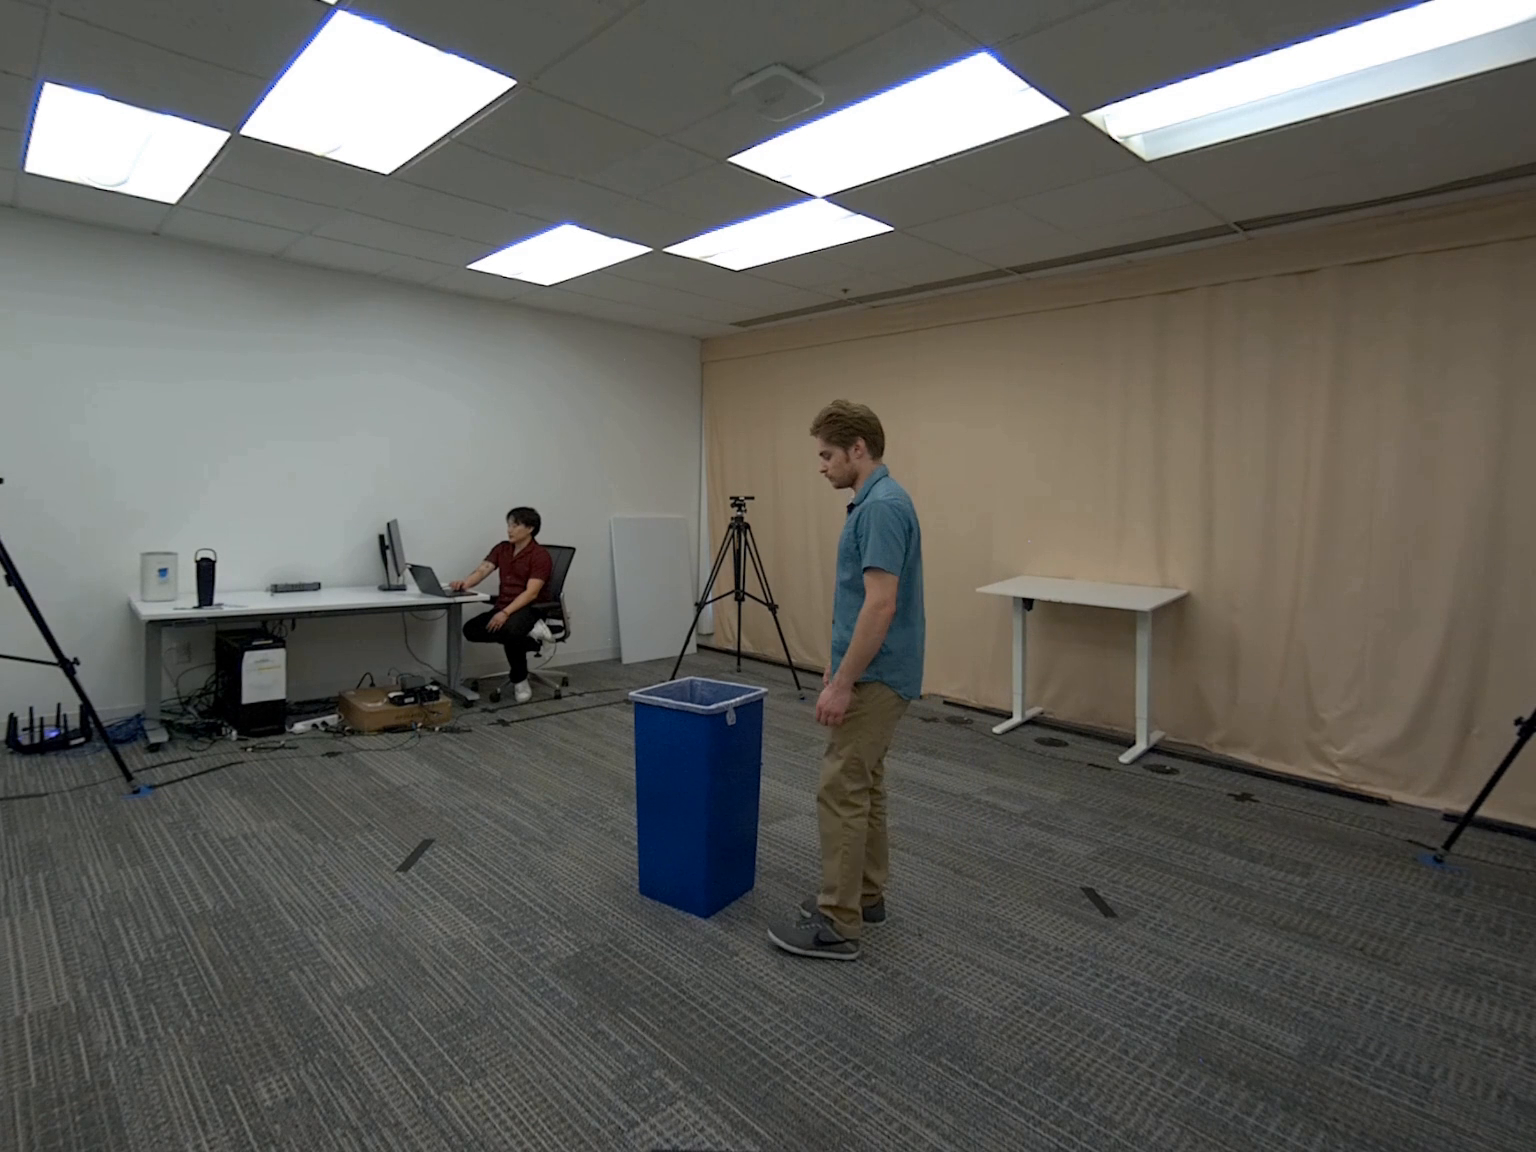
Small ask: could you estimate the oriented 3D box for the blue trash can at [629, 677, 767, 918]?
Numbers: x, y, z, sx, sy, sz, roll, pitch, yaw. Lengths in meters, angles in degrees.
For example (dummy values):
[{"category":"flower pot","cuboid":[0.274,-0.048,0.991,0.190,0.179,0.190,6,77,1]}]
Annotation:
[{"category":"blue trash can","cuboid":[-0.258,0.759,2.966,0.383,0.712,0.370,4,4,34]}]
